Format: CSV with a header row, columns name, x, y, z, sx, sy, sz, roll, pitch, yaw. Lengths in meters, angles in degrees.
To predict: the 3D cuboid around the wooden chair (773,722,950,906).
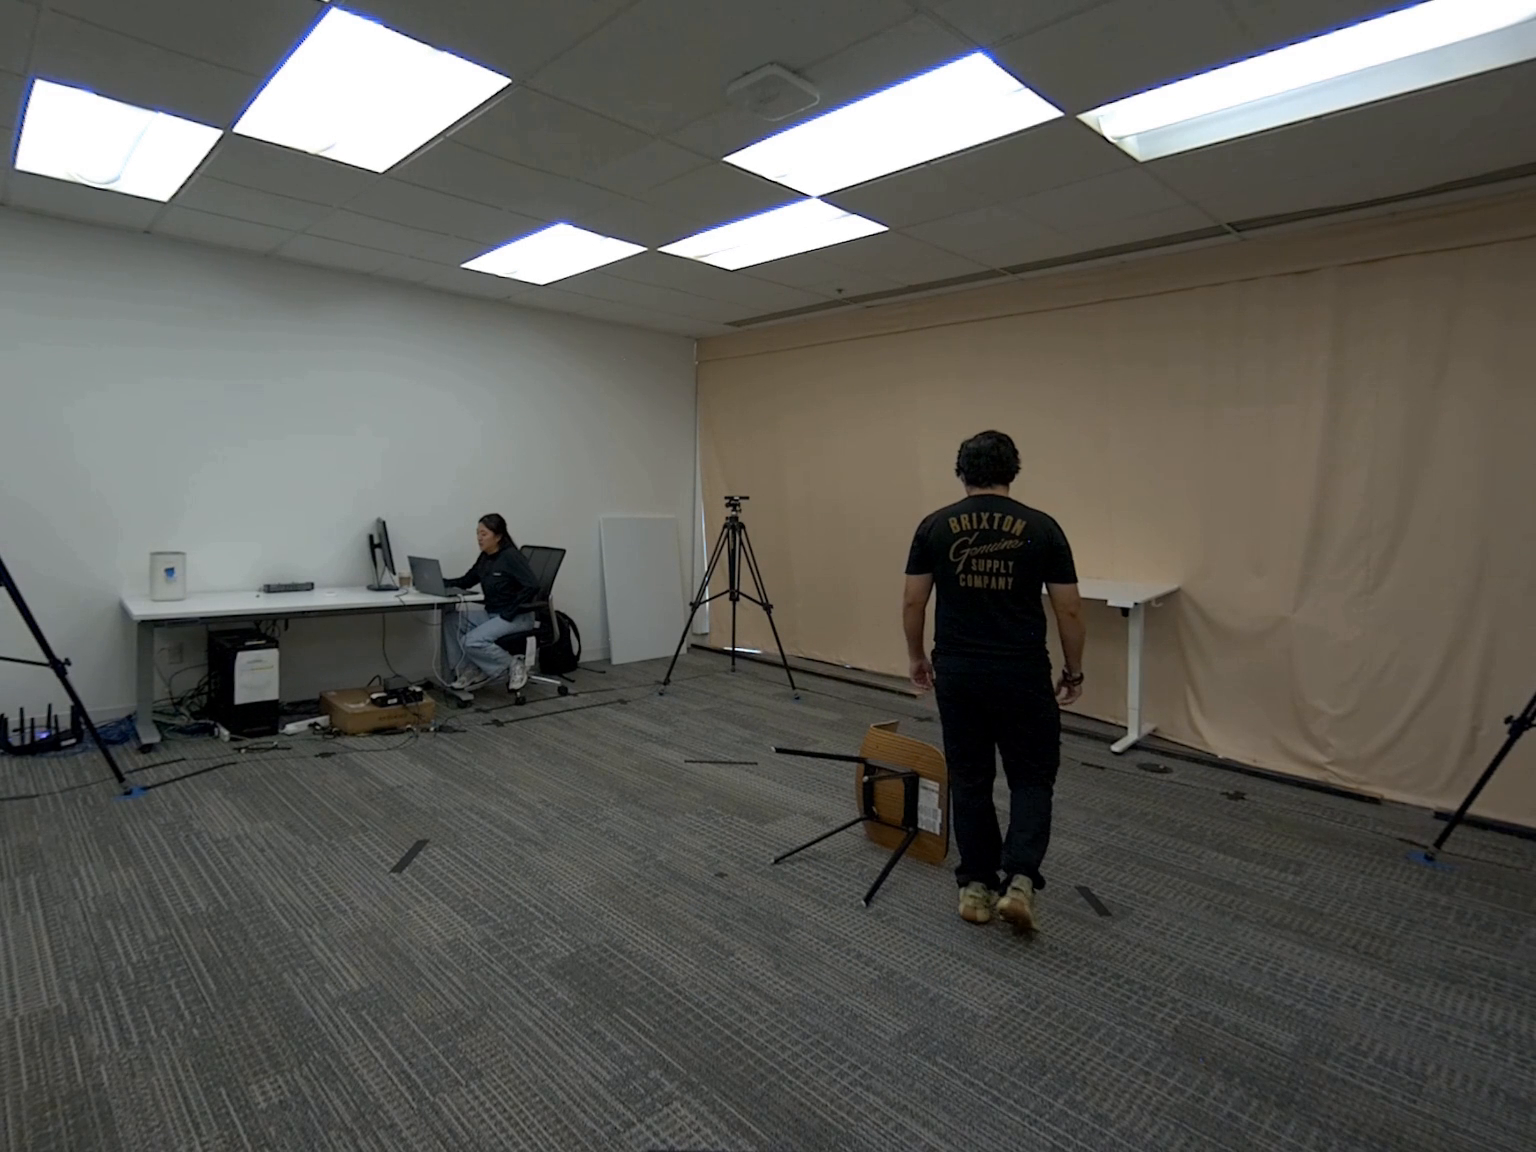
name,x,y,z,sx,sy,sz,roll,pitch,yaw
wooden chair,0.471,0.870,3.320,0.536,0.477,0.857,4,5,42
